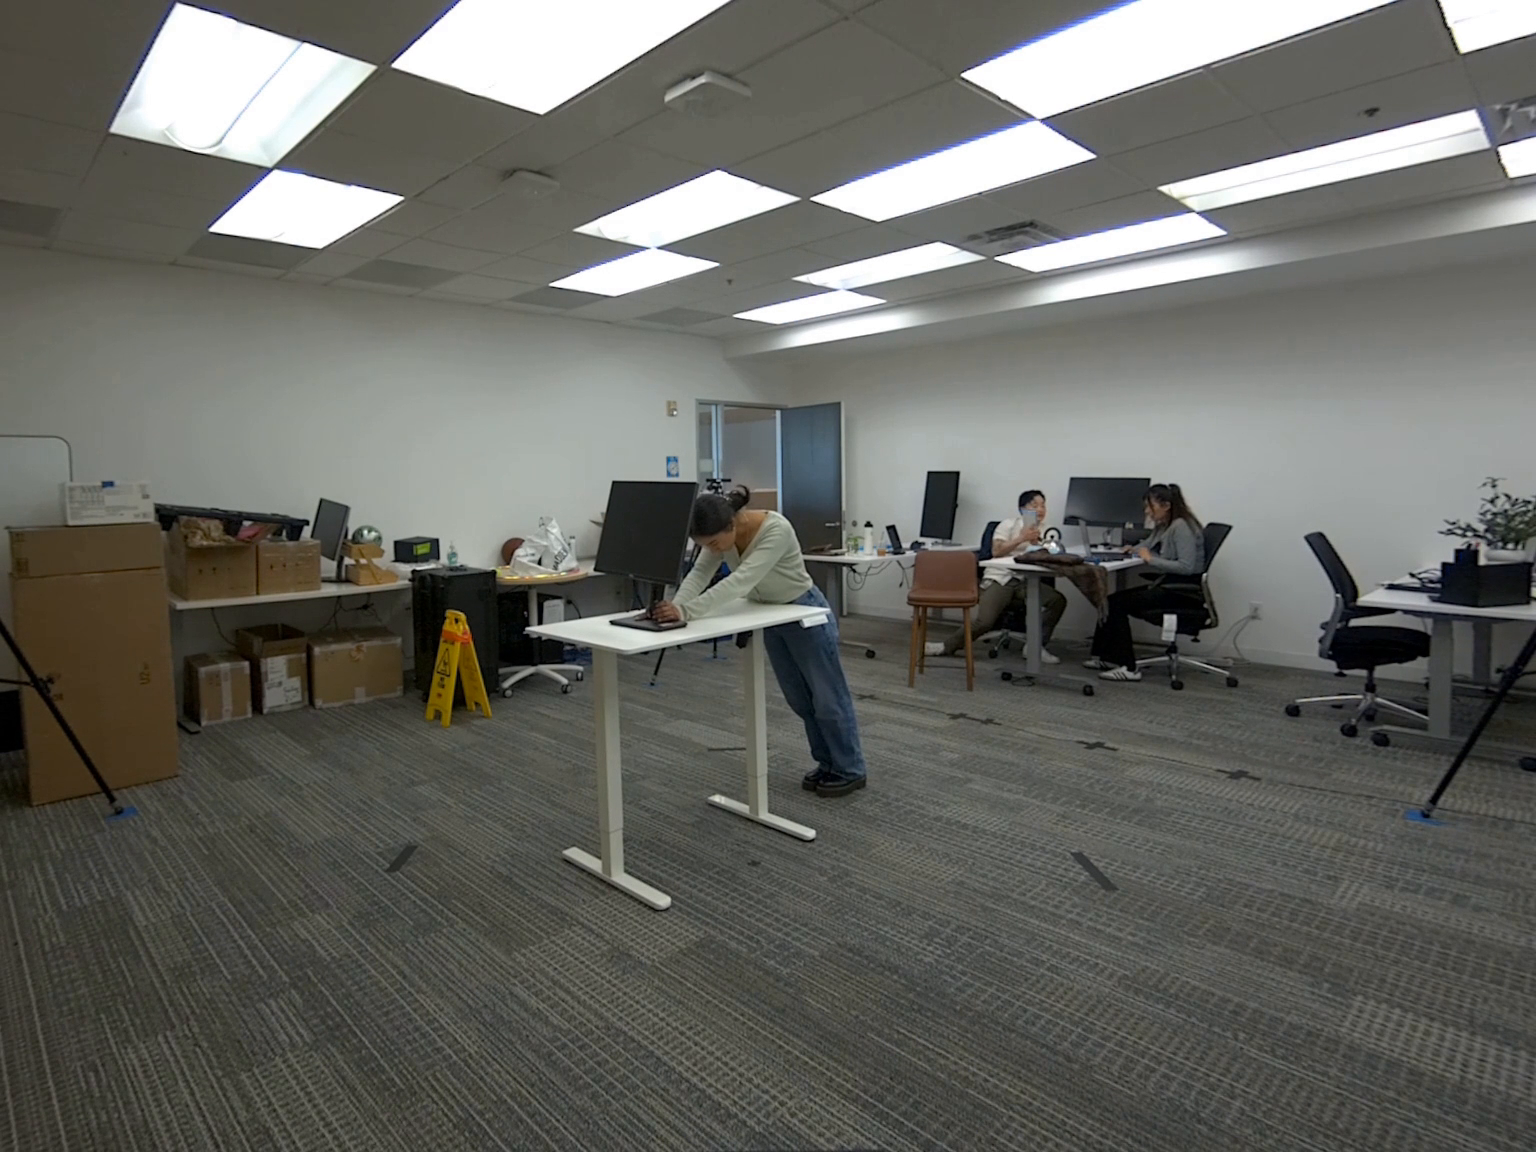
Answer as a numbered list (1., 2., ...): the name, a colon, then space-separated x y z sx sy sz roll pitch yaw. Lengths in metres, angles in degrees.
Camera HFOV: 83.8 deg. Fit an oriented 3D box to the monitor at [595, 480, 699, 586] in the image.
1. monitor: -0.421 -0.077 3.051 0.182 0.521 0.556 -2 5 -43
